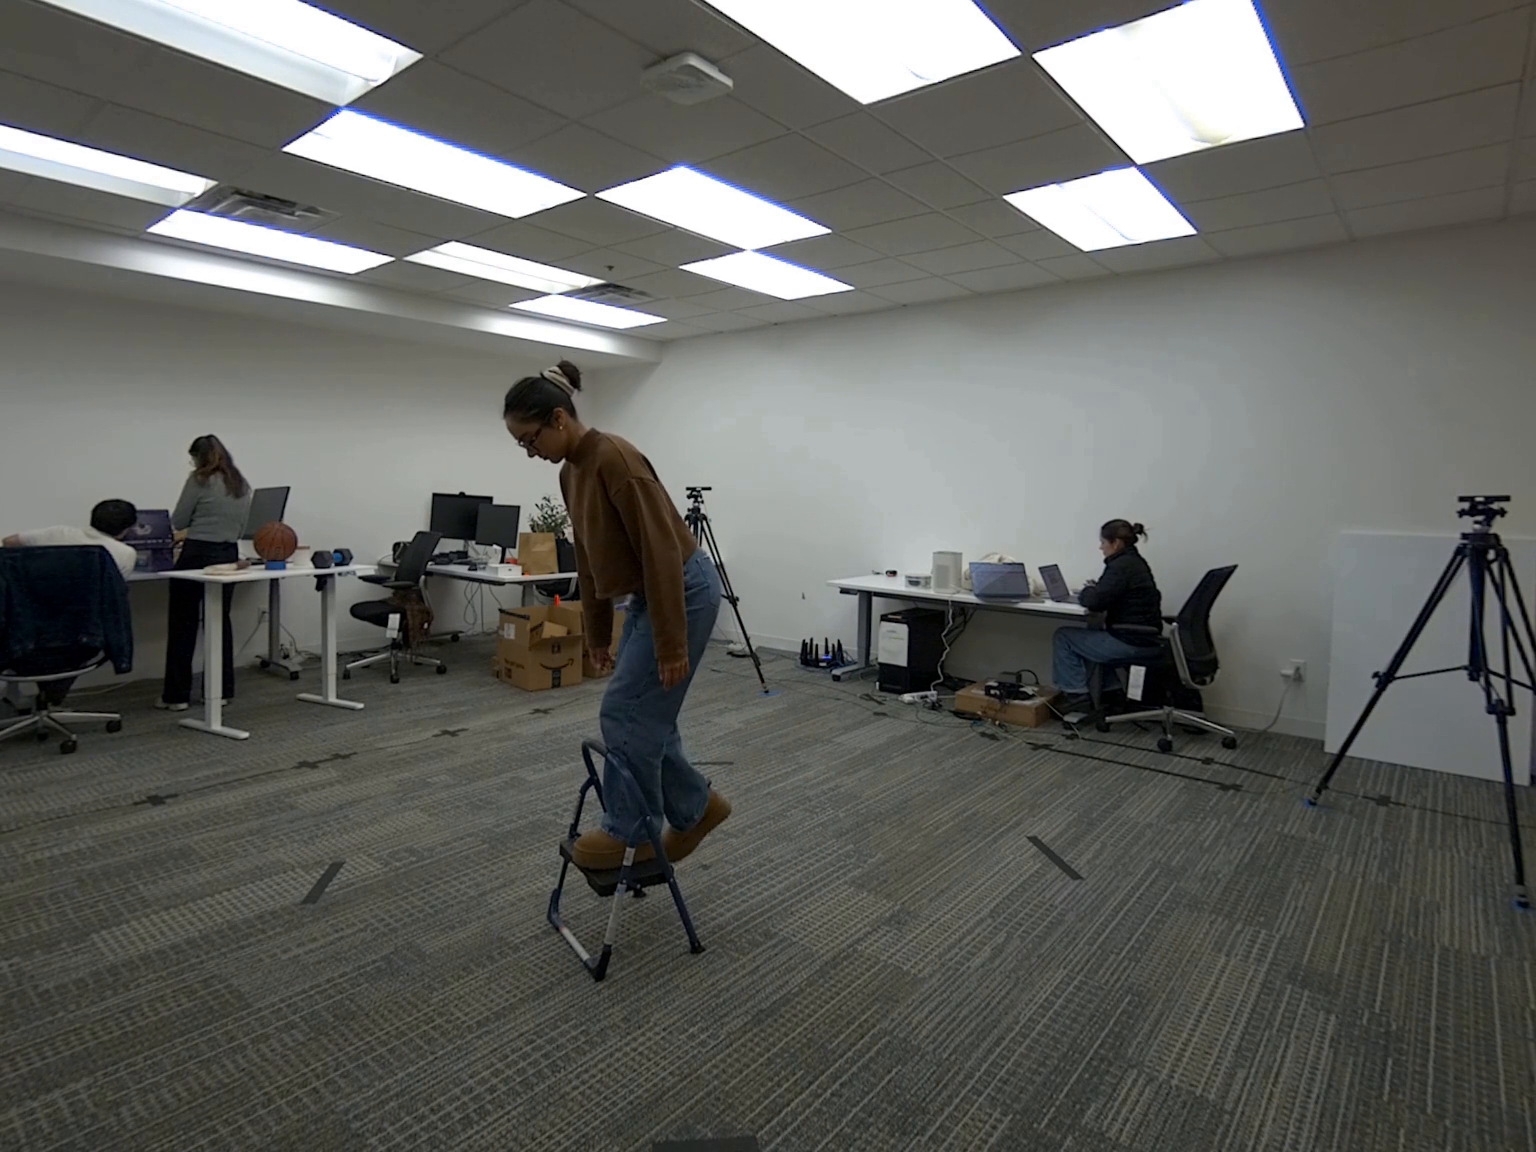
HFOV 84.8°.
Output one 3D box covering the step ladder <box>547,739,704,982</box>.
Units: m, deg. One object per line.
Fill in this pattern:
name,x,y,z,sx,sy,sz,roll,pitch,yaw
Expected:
step ladder,-0.461,0.808,2.624,0.339,0.604,0.444,-2,5,-34
